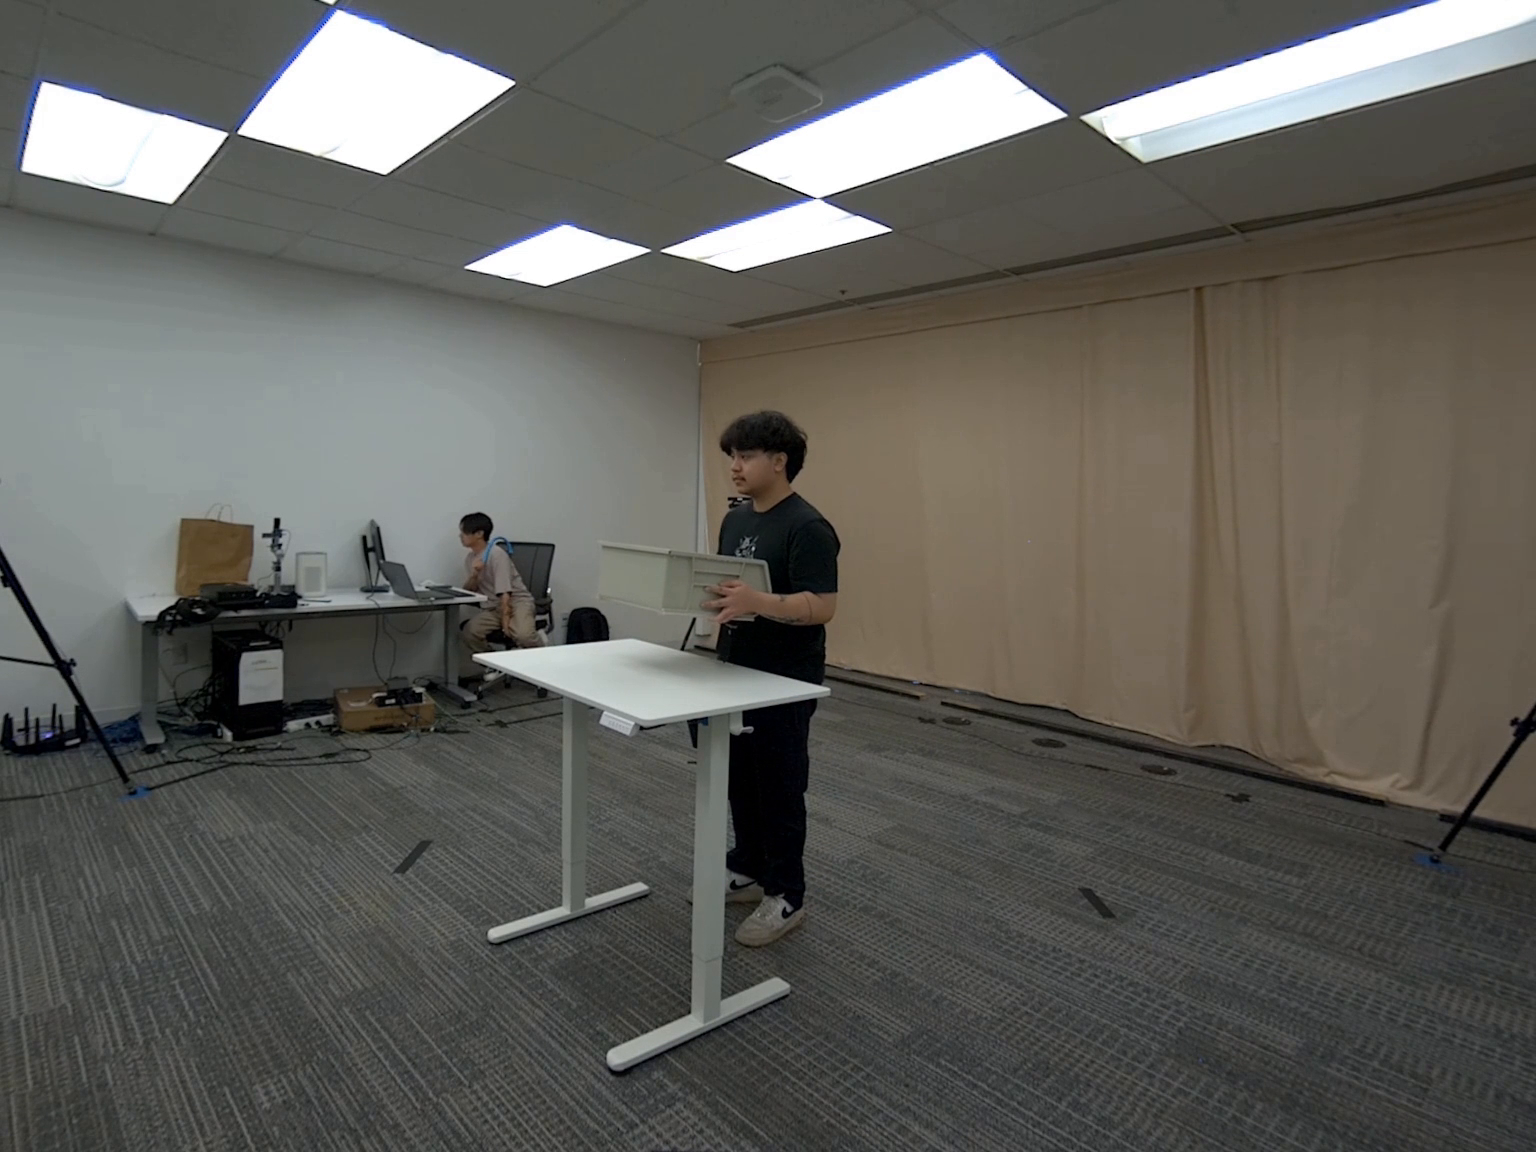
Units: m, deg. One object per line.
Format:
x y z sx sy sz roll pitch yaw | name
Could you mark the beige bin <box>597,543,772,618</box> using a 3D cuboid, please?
-0.271 0.018 2.549 0.368 0.189 0.433 5 2 -37 | beige bin
